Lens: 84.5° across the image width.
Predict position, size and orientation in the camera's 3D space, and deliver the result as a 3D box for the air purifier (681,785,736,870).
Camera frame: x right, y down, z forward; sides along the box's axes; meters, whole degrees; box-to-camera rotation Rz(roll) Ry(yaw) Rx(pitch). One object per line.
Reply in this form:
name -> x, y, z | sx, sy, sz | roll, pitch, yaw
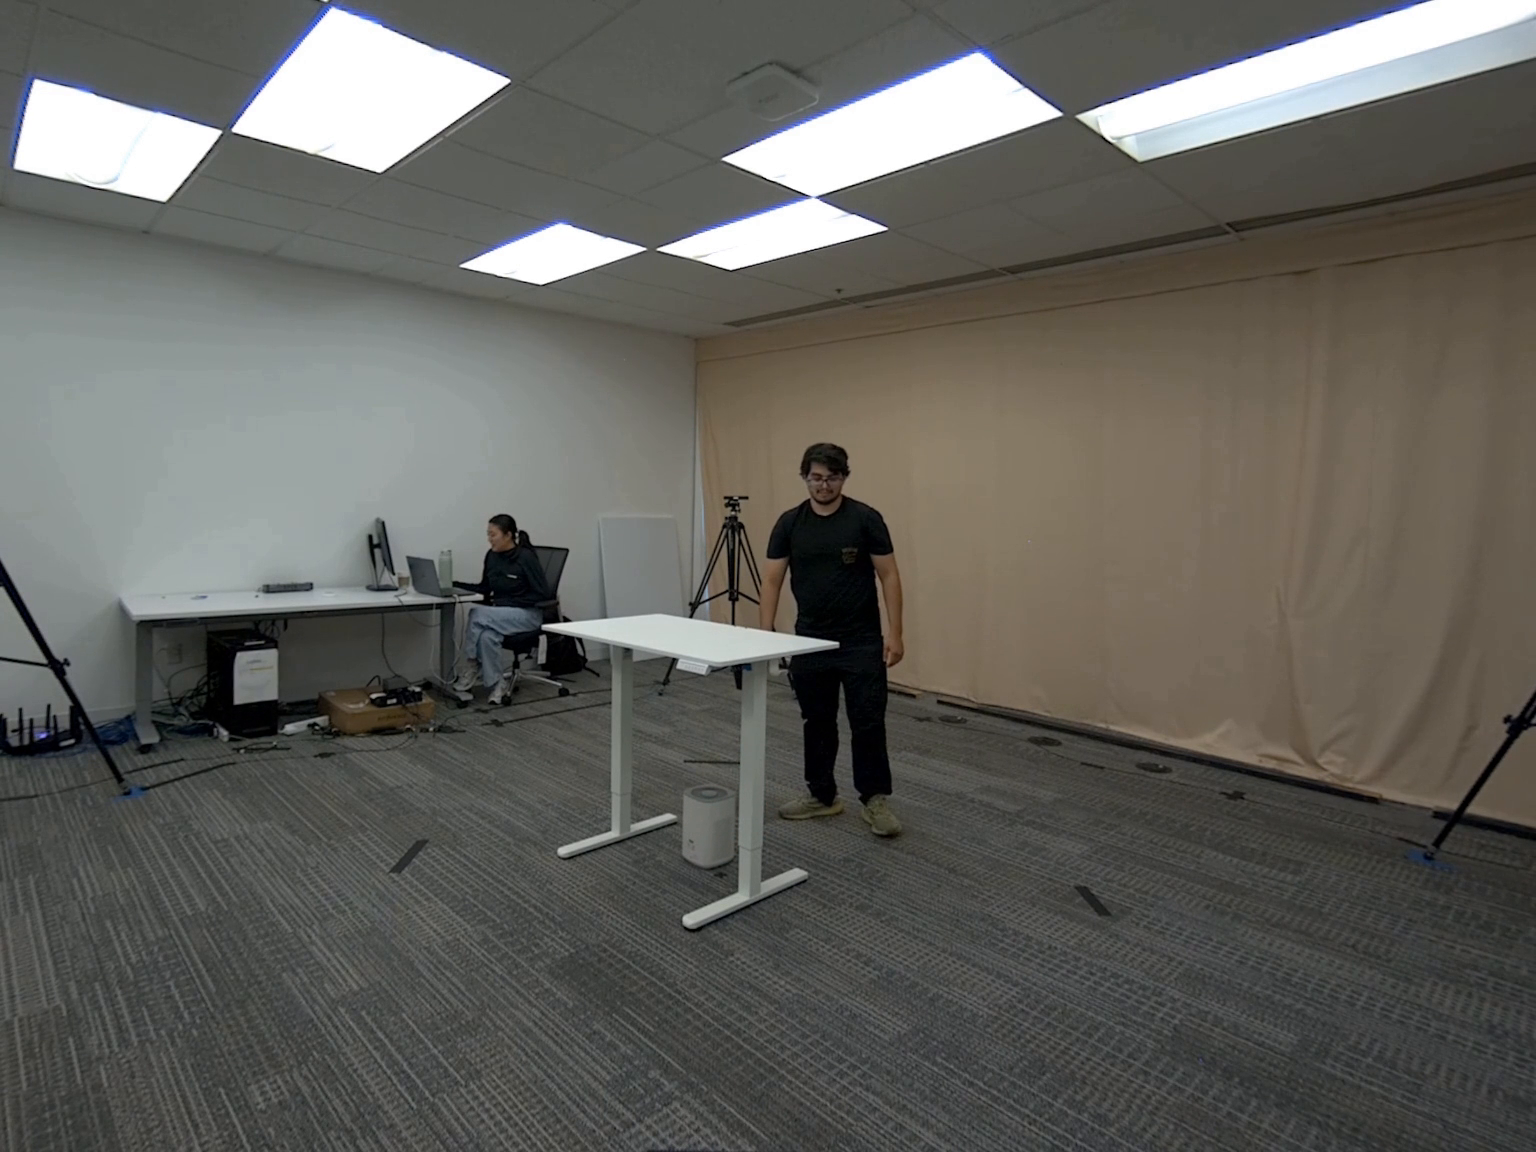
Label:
air purifier -> -0.231, 0.955, 3.215 | 0.168, 0.265, 0.175 | -3, 5, -45
